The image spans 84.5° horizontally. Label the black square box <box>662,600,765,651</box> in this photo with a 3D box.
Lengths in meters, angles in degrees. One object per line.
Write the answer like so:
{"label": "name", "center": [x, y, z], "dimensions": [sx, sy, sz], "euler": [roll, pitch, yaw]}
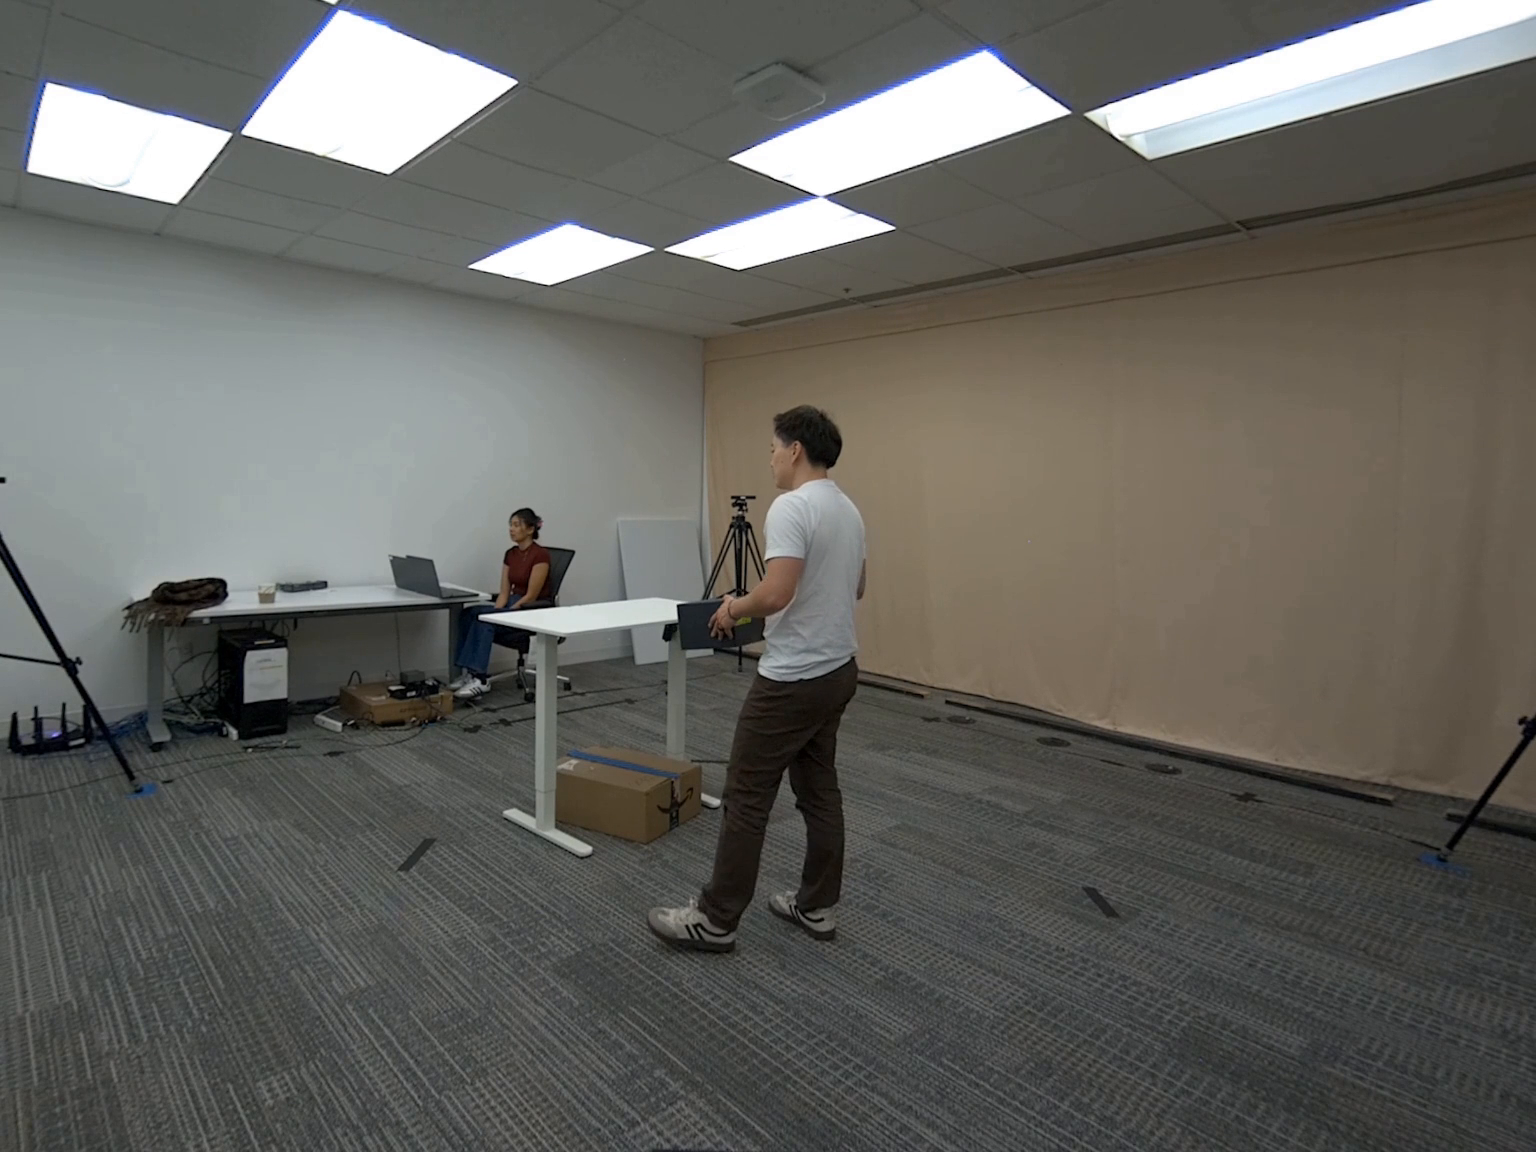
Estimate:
{"label": "black square box", "center": [-0.176, 0.155, 2.859], "dimensions": [0.220, 0.156, 0.224], "euler": [-5, -1, 20]}
